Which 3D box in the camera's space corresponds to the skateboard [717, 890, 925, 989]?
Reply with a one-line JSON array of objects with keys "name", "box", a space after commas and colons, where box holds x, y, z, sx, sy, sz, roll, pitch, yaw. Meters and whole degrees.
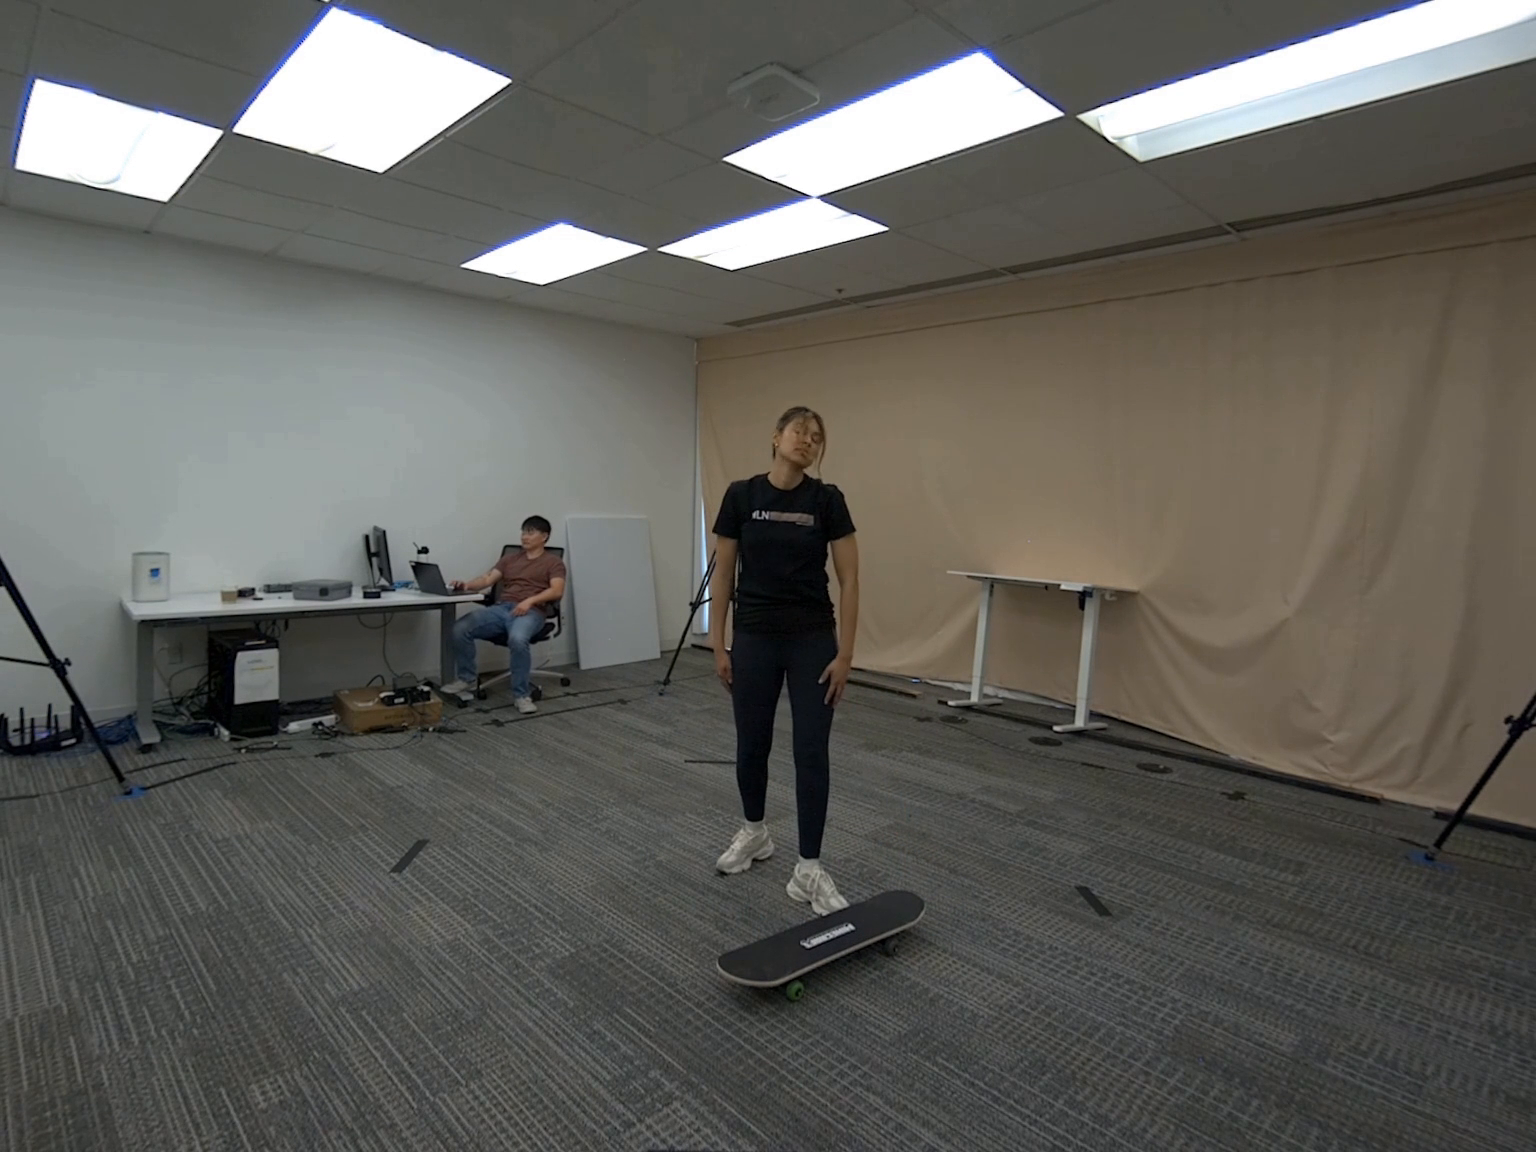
[{"name": "skateboard", "box": [0.175, 1.108, 2.523, 0.768, 0.110, 0.198, -3, 6, -39]}]
